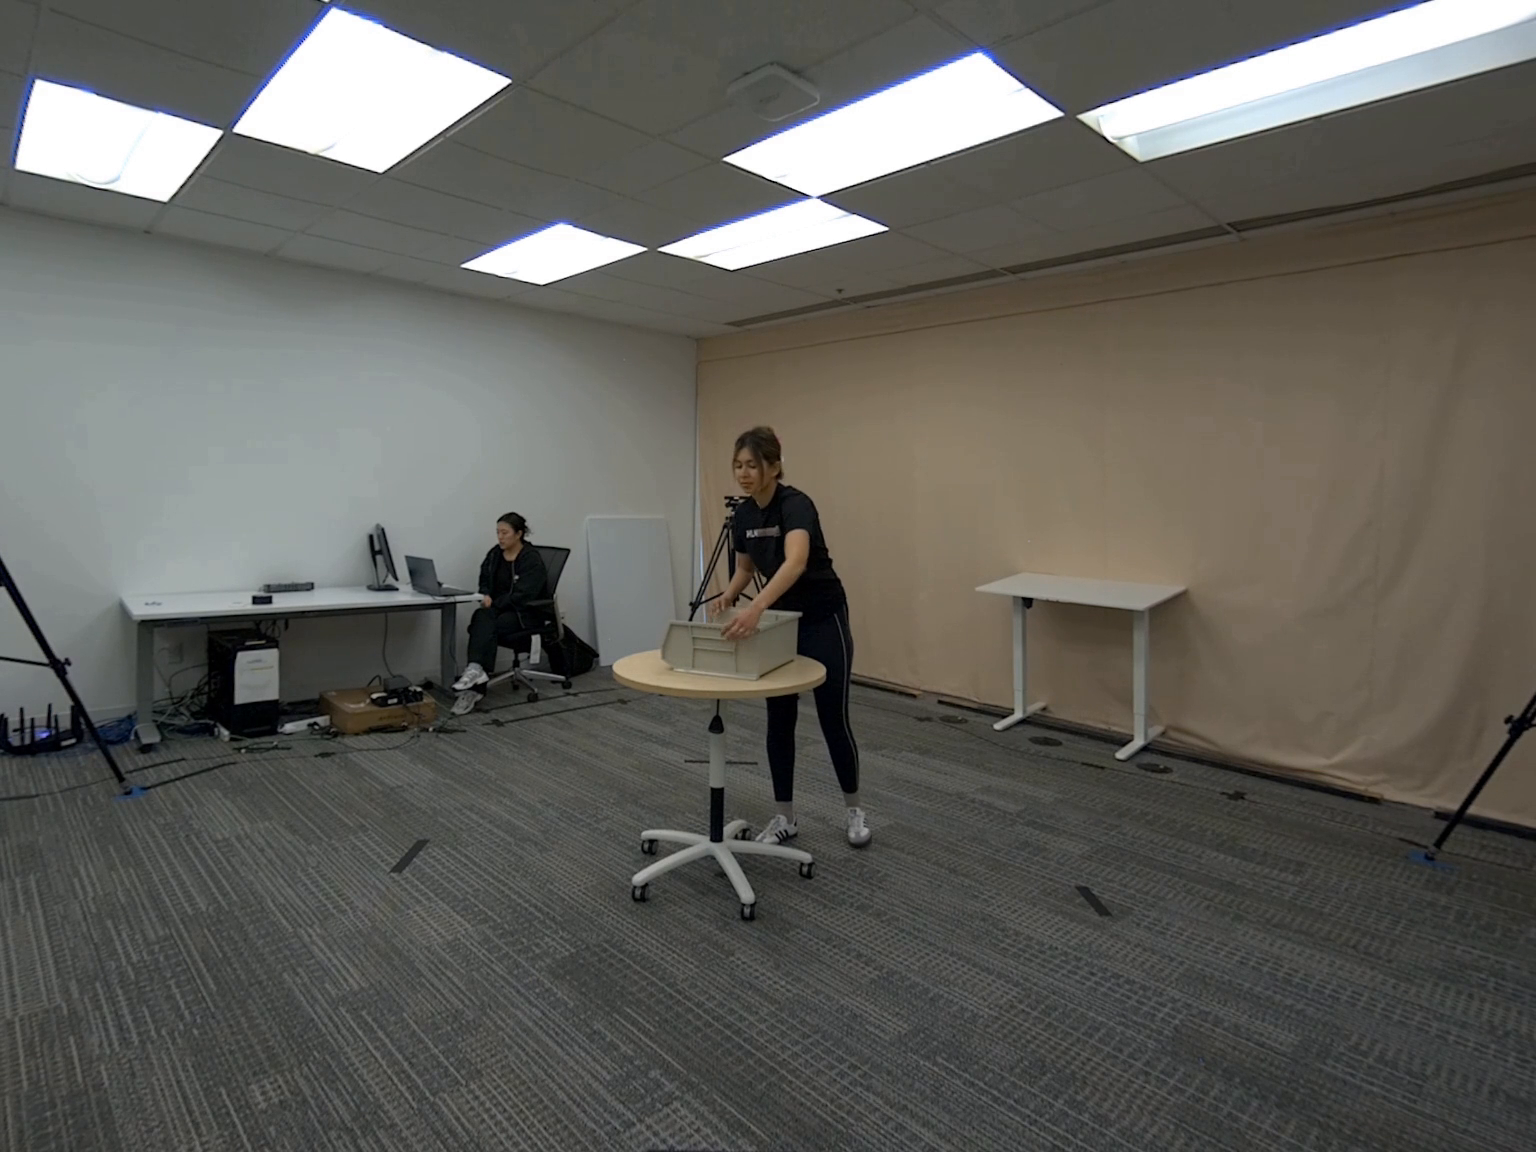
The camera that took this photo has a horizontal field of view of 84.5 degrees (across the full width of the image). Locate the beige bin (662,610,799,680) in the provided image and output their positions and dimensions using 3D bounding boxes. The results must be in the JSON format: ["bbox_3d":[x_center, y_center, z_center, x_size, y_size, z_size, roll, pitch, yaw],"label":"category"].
[{"bbox_3d":[-0.129,0.236,3.050,0.384,0.188,0.416,5,6,22],"label":"beige bin"}]
